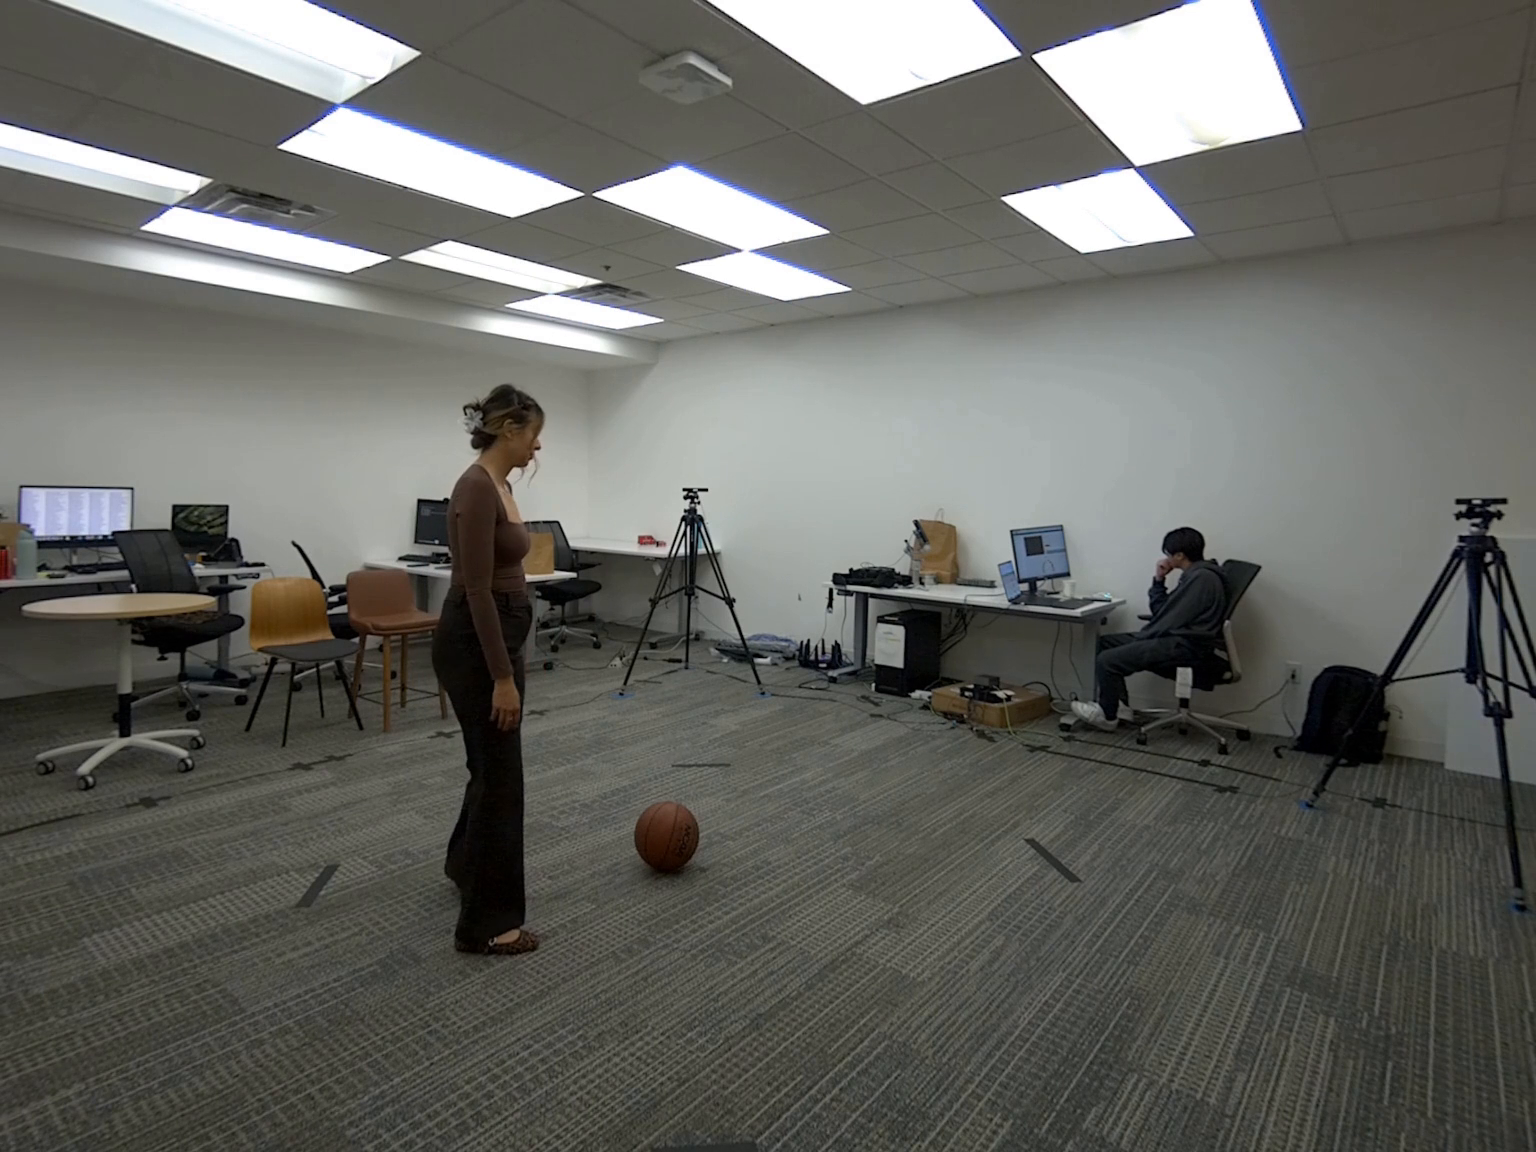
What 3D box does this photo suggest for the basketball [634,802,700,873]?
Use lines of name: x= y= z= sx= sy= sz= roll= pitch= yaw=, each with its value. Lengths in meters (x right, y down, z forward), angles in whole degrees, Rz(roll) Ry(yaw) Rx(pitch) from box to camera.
basketball: x=-0.378 y=0.945 z=3.114 sx=0.235 sy=0.235 sz=0.237 roll=1 pitch=4 yaw=-2
